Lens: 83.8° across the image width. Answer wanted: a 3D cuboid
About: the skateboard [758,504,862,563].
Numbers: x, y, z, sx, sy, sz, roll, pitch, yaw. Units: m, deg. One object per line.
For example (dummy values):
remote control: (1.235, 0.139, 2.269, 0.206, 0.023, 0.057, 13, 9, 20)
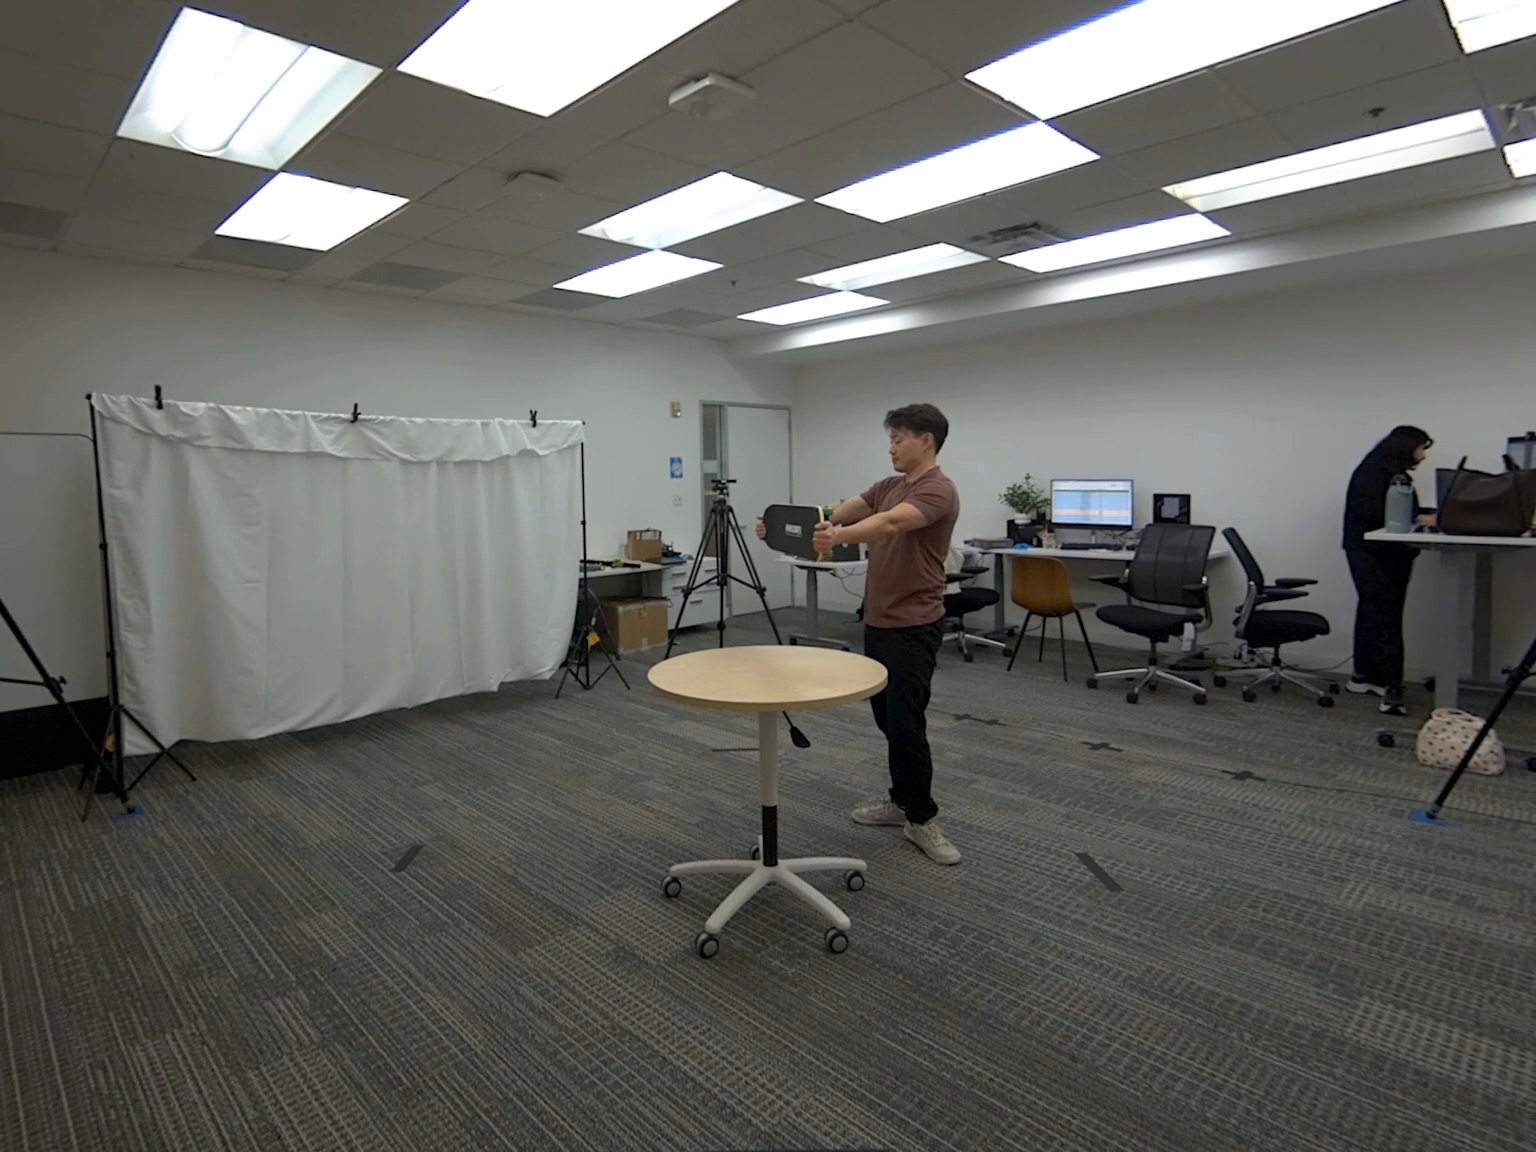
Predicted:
skateboard: (0.133, -0.175, 3.259, 0.109, 0.193, 0.799, -3, 6, -15)
